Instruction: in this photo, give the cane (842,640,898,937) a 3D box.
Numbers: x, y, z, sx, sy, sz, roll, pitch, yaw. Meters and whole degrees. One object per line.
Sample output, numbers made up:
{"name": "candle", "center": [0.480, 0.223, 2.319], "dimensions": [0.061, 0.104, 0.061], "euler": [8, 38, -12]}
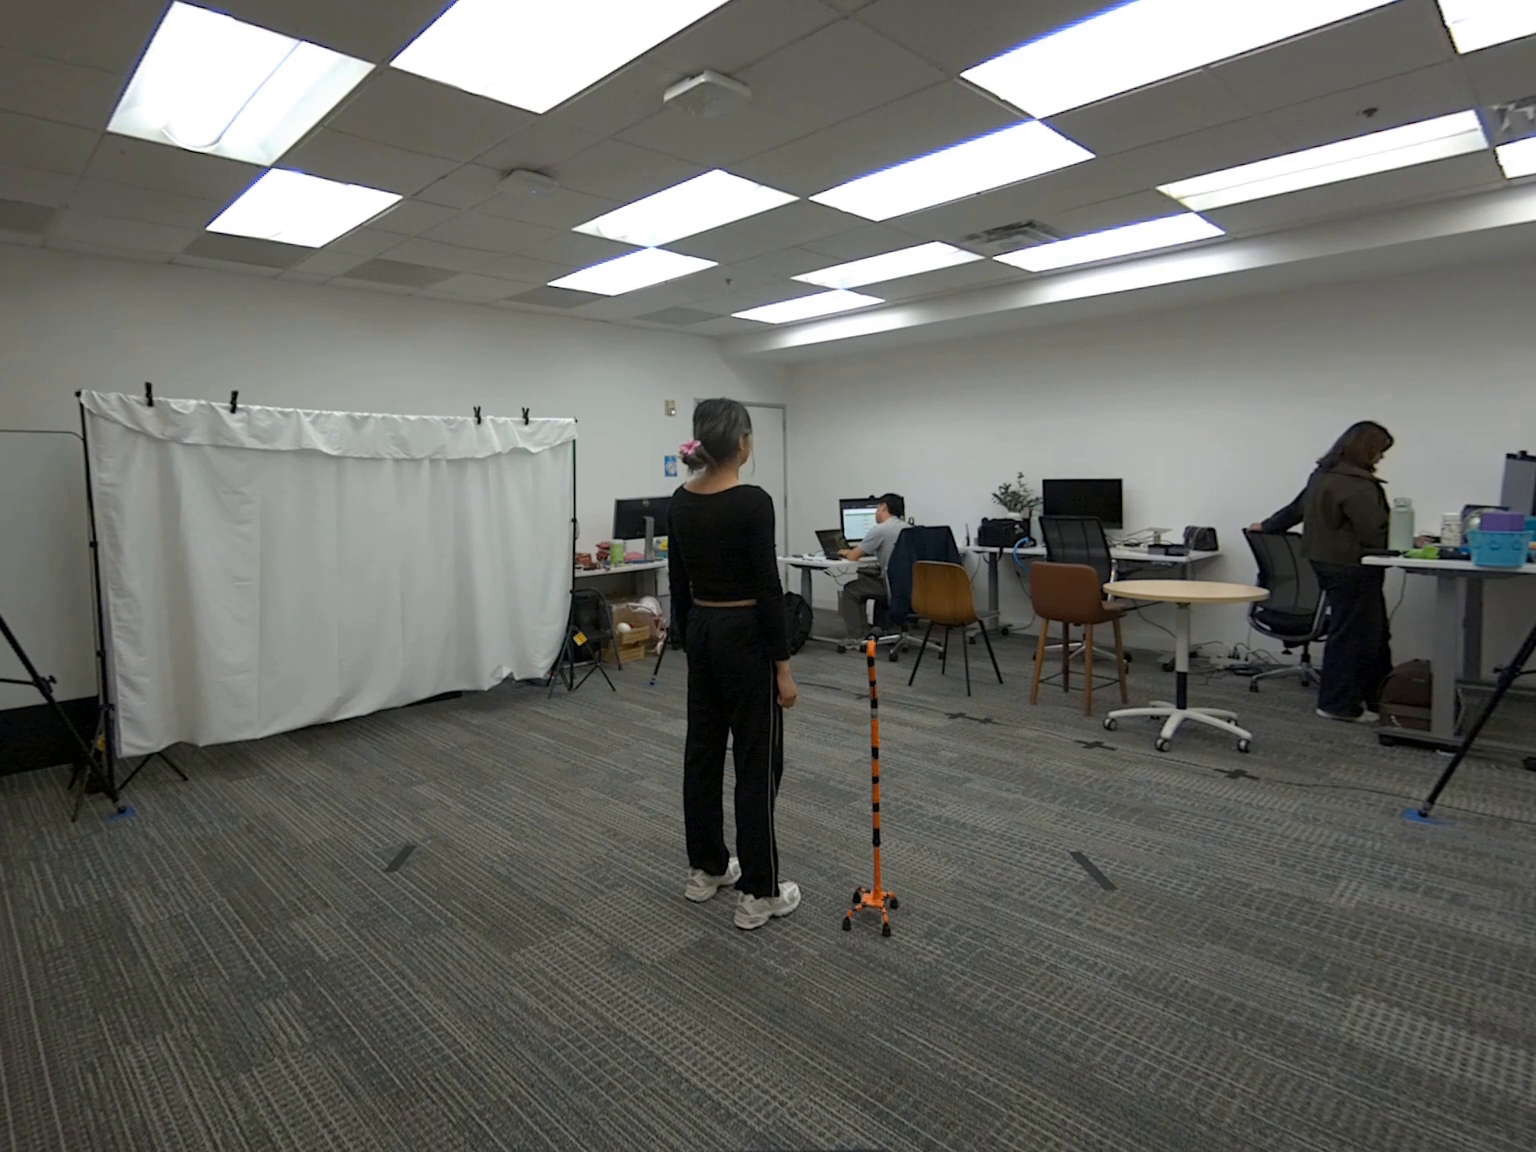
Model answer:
{"name": "cane", "center": [0.321, 0.631, 2.671], "dimensions": [0.154, 0.905, 0.204], "euler": [0, 4, 16]}
